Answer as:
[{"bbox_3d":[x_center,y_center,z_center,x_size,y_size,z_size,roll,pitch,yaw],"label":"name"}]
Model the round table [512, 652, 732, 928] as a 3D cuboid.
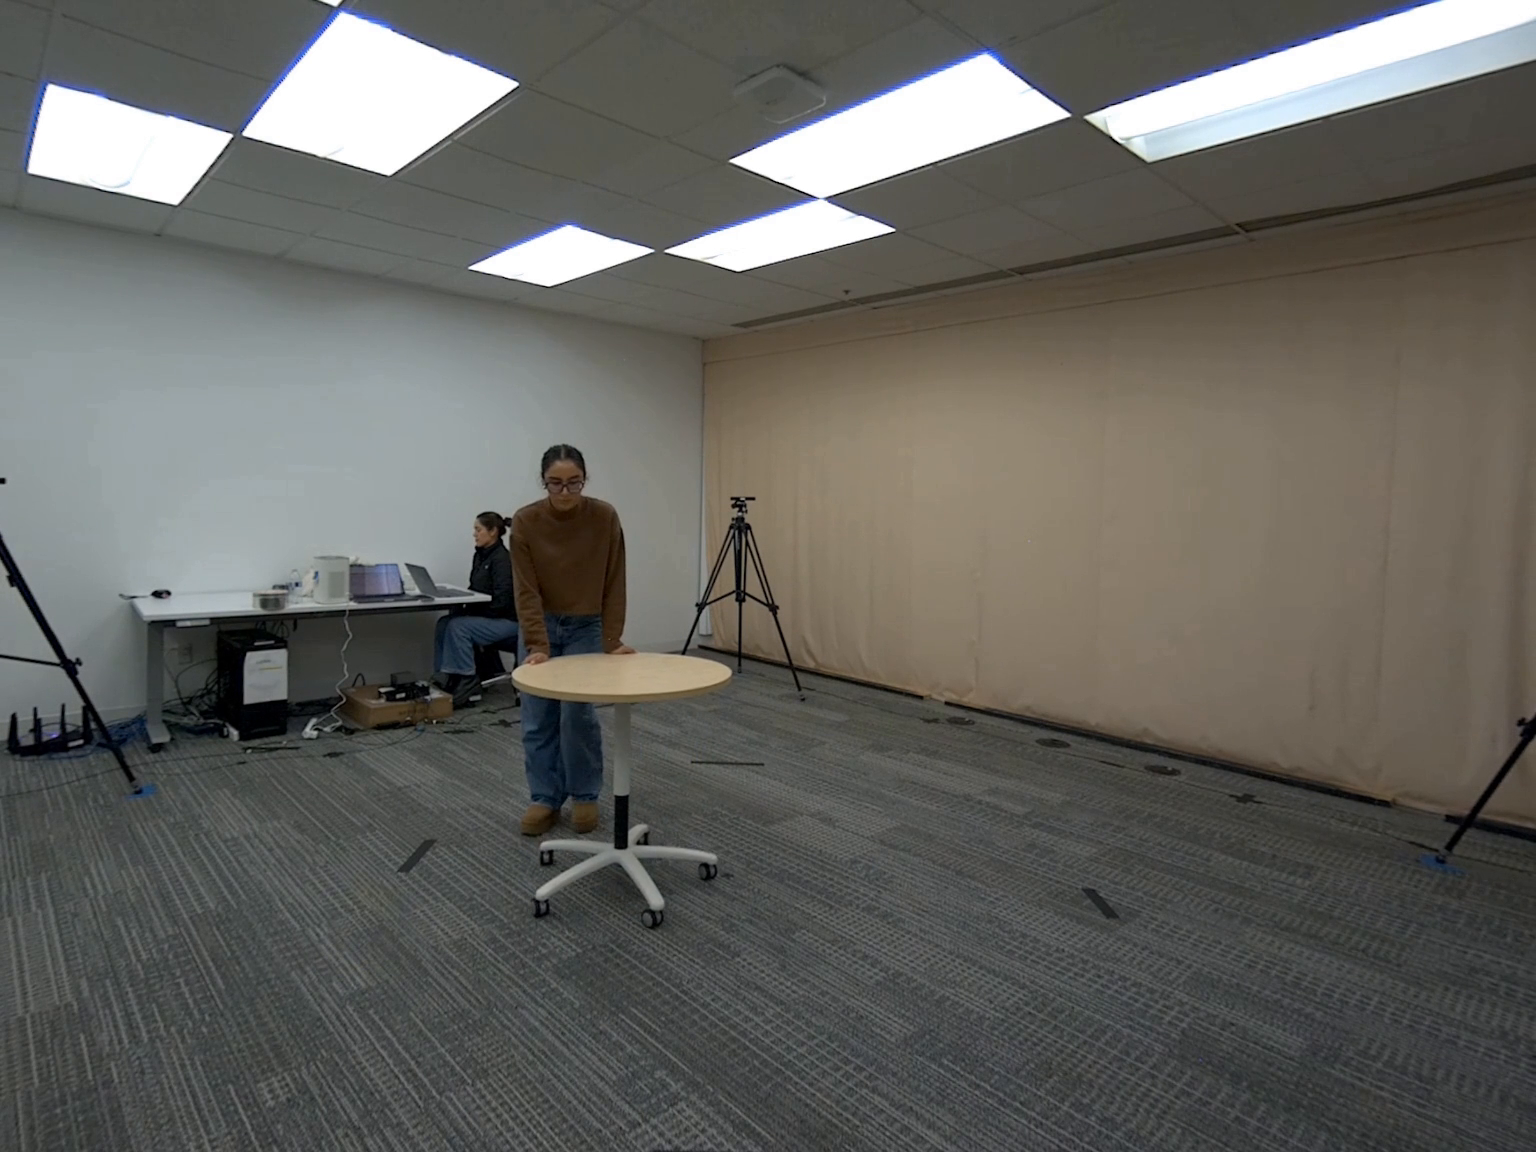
[{"bbox_3d":[-0.529,0.726,2.988,0.763,0.792,0.766,1,4,-1],"label":"round table"}]
